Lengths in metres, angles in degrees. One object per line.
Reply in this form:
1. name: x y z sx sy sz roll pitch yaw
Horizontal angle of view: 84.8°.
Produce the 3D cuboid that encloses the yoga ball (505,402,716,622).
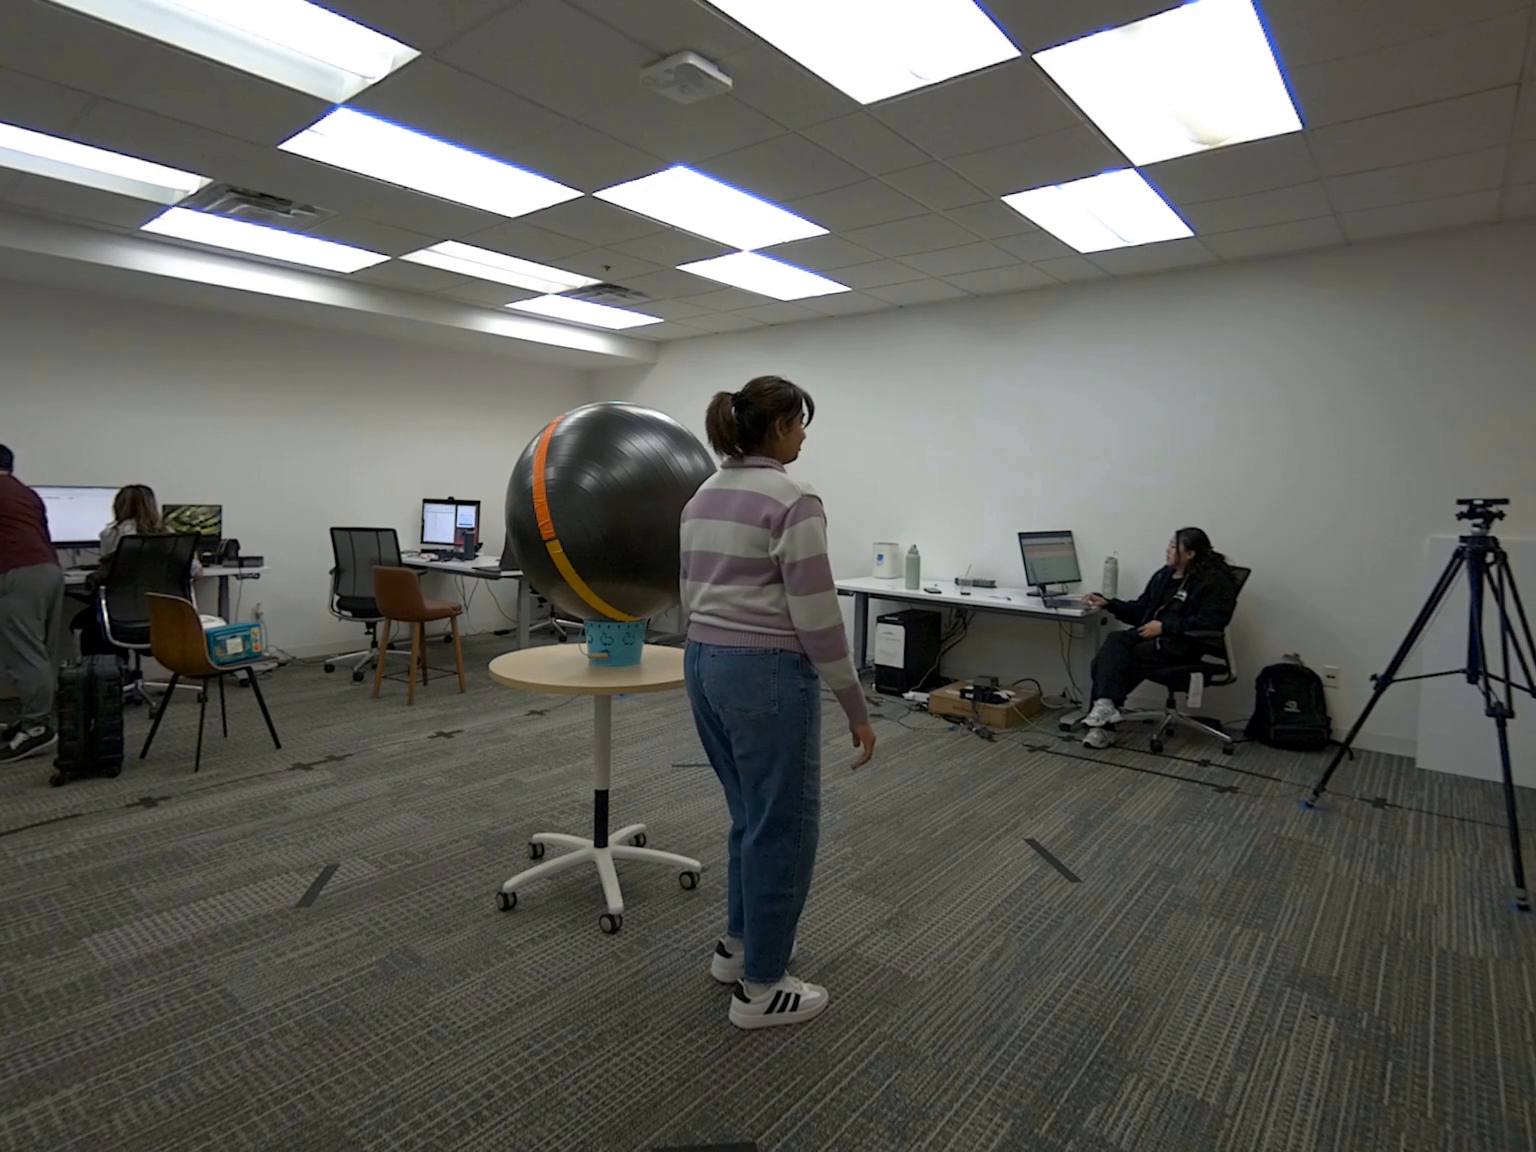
1. yoga ball: -0.533 -0.214 2.932 0.757 0.755 0.762 1 4 -2
